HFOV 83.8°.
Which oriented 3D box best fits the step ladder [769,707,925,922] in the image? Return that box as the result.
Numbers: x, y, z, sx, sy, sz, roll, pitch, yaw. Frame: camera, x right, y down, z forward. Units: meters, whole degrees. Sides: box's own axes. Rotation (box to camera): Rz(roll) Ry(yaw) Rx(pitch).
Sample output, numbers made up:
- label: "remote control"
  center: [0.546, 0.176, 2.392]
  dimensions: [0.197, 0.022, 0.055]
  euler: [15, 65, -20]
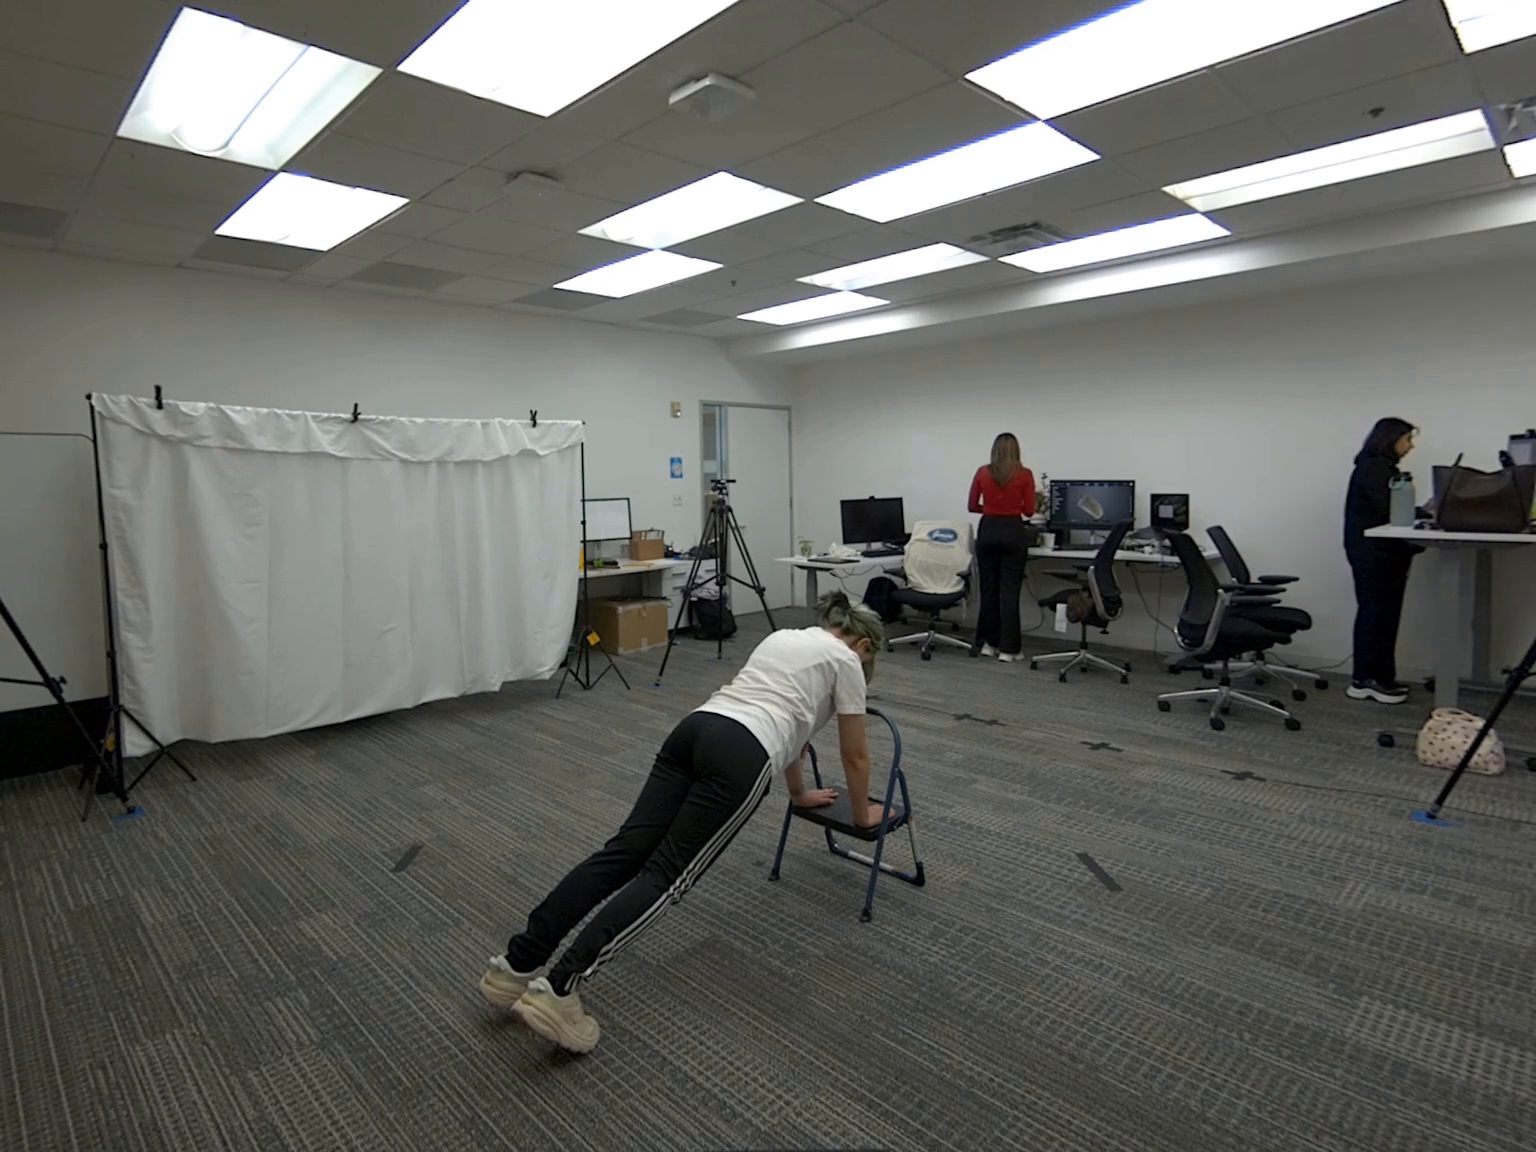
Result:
- label: "step ladder"
  center: [0.272, 0.759, 2.939]
  dimensions: [0.444, 0.604, 0.340]
  euler: [3, 6, 45]
